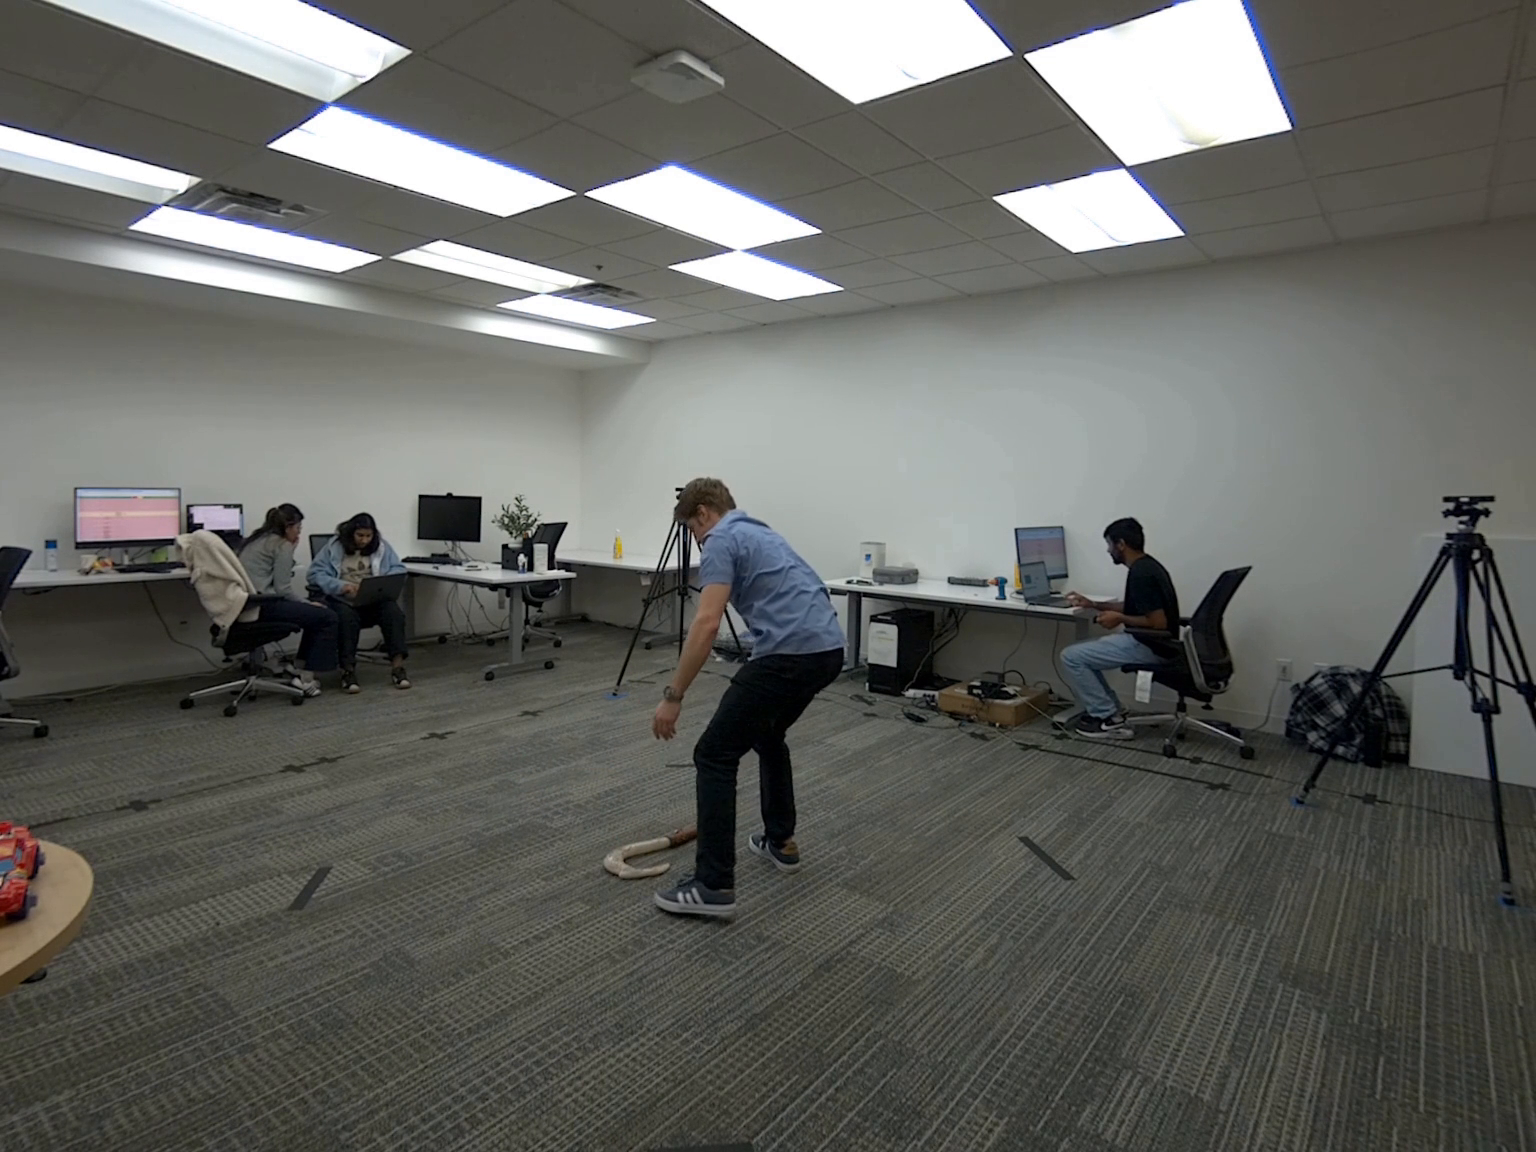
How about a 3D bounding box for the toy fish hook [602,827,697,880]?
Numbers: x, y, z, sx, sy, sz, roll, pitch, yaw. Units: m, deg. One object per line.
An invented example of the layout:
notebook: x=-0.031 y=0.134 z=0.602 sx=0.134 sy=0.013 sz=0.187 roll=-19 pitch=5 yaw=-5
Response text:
toy fish hook: x=-0.394 y=1.039 z=3.217 sx=0.233 sy=0.048 sz=0.492 roll=16 pitch=15 yaw=41
